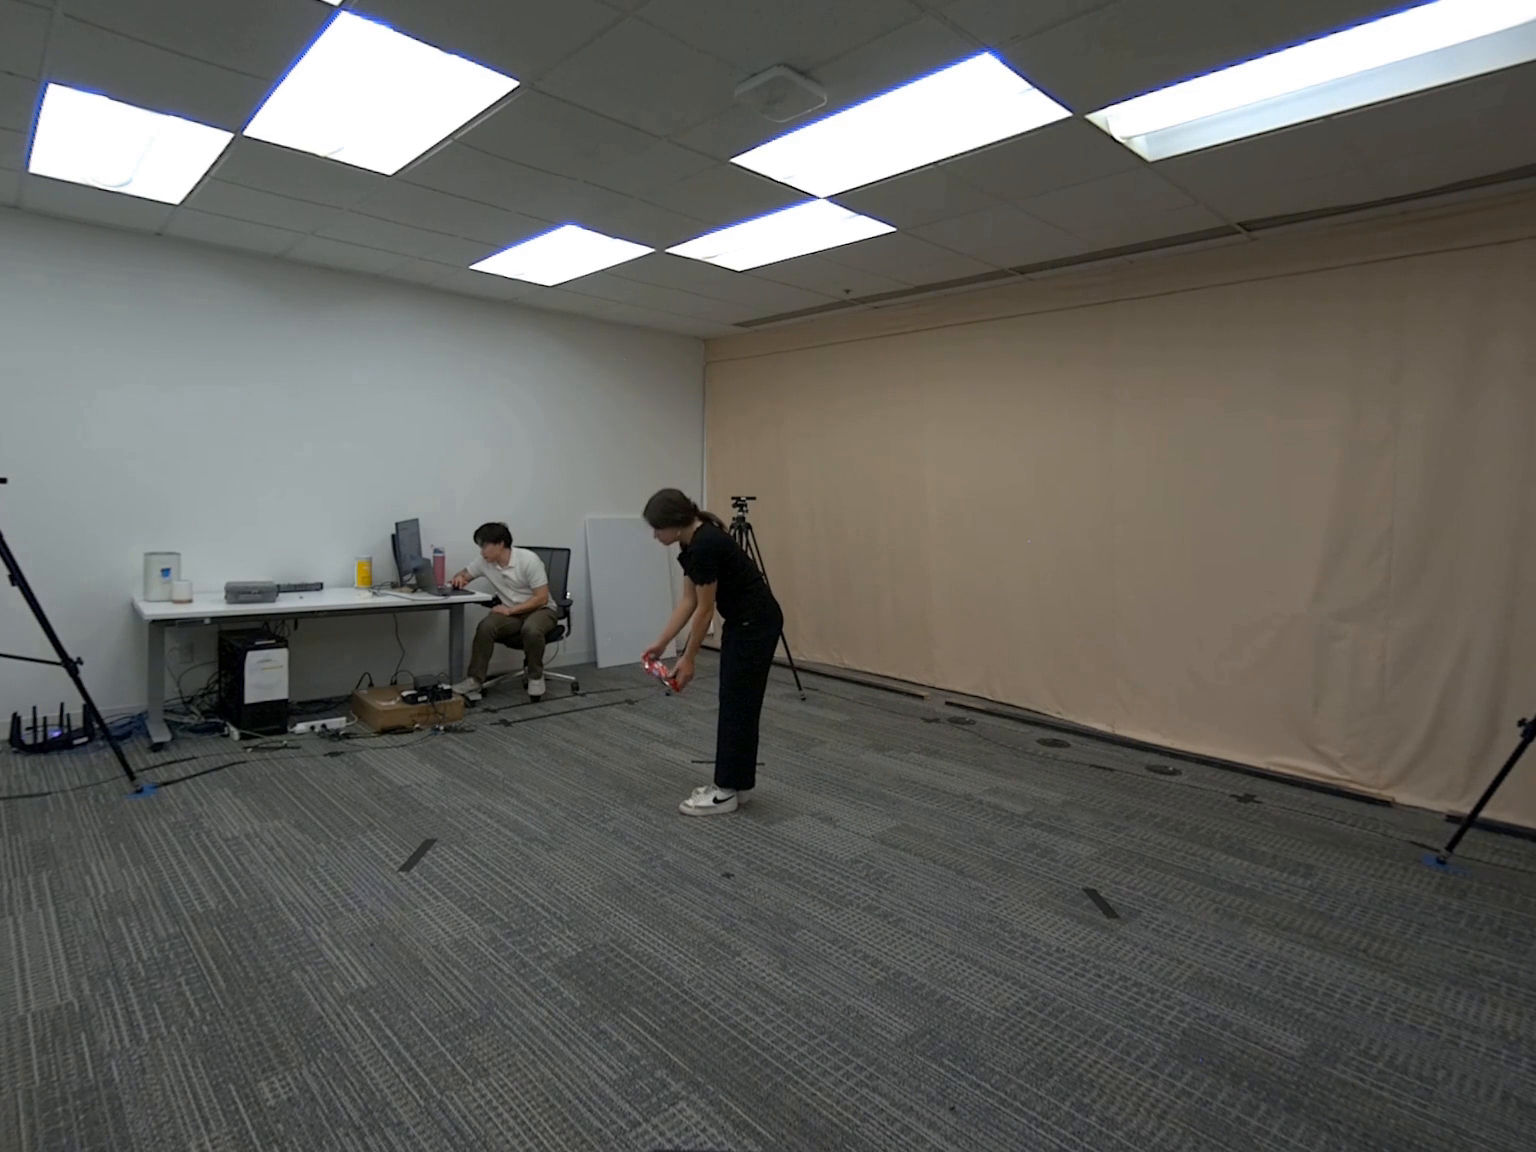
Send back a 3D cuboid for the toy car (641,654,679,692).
[{"bbox_3d":[-0.488,0.428,3.795,0.262,0.083,0.126,24,-25,38],"label":"toy car"}]
